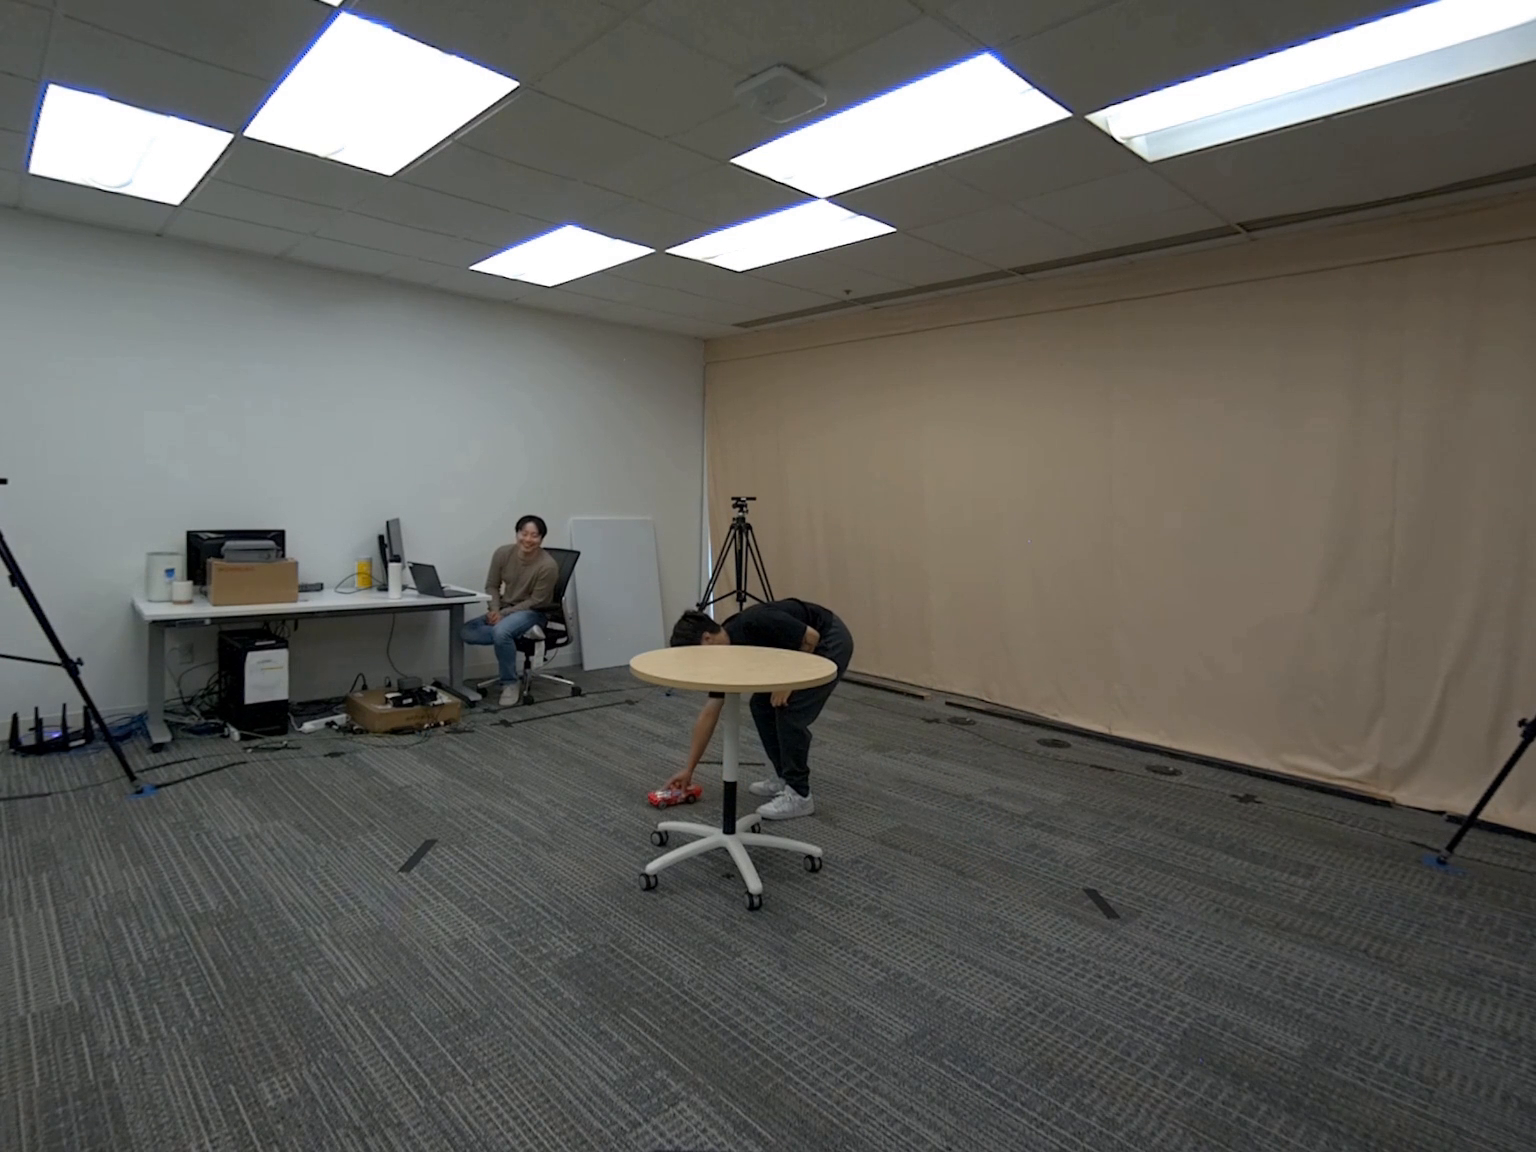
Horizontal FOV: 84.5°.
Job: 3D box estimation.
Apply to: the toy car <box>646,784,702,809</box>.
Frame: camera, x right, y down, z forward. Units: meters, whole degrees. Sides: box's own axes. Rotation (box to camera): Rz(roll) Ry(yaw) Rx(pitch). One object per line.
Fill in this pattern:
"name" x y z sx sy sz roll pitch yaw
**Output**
"toy car" -0.432 1.007 3.860 0.250 0.082 0.133 -13 11 -30
